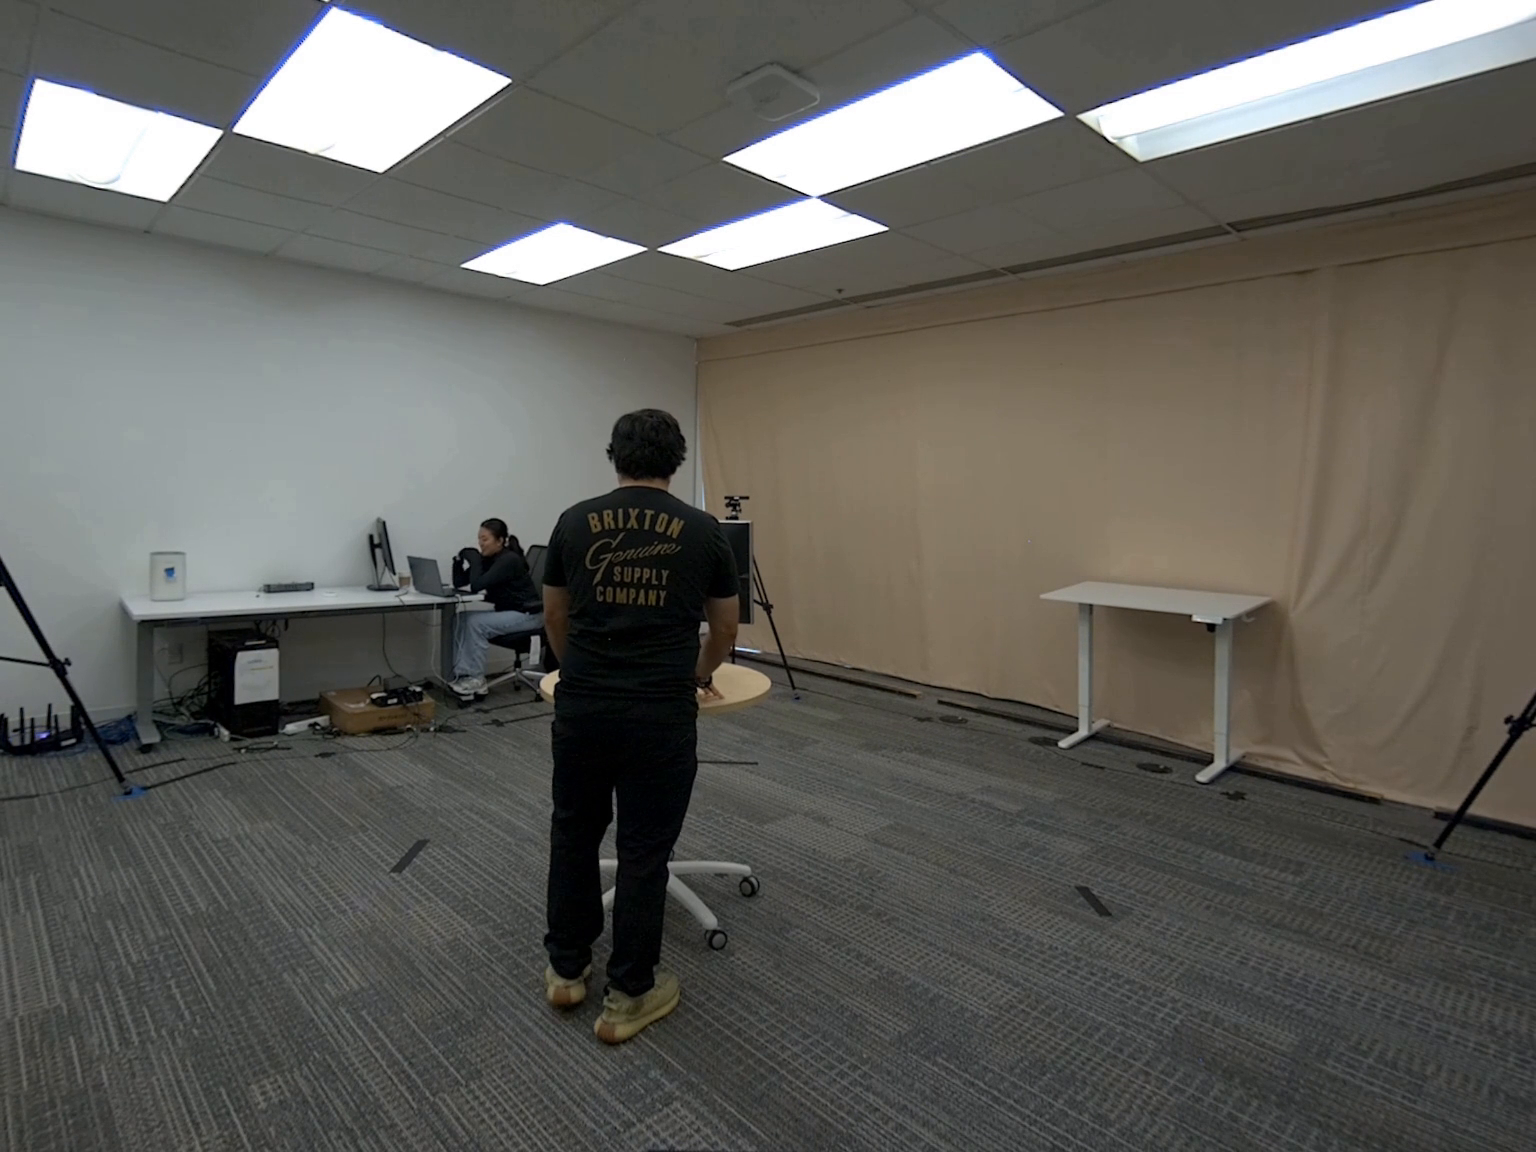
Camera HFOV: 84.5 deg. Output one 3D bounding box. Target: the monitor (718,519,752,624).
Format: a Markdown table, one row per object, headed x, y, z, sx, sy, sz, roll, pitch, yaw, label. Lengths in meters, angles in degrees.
| x | y | z | sx | sy | sz | roll | pitch | yaw | label |
| --- | --- | --- | --- | --- | --- | --- | --- | --- | --- |
| -0.347 | 0.081 | 2.943 | 0.574 | 0.551 | 0.208 | 3 | 6 | 18 | monitor |
